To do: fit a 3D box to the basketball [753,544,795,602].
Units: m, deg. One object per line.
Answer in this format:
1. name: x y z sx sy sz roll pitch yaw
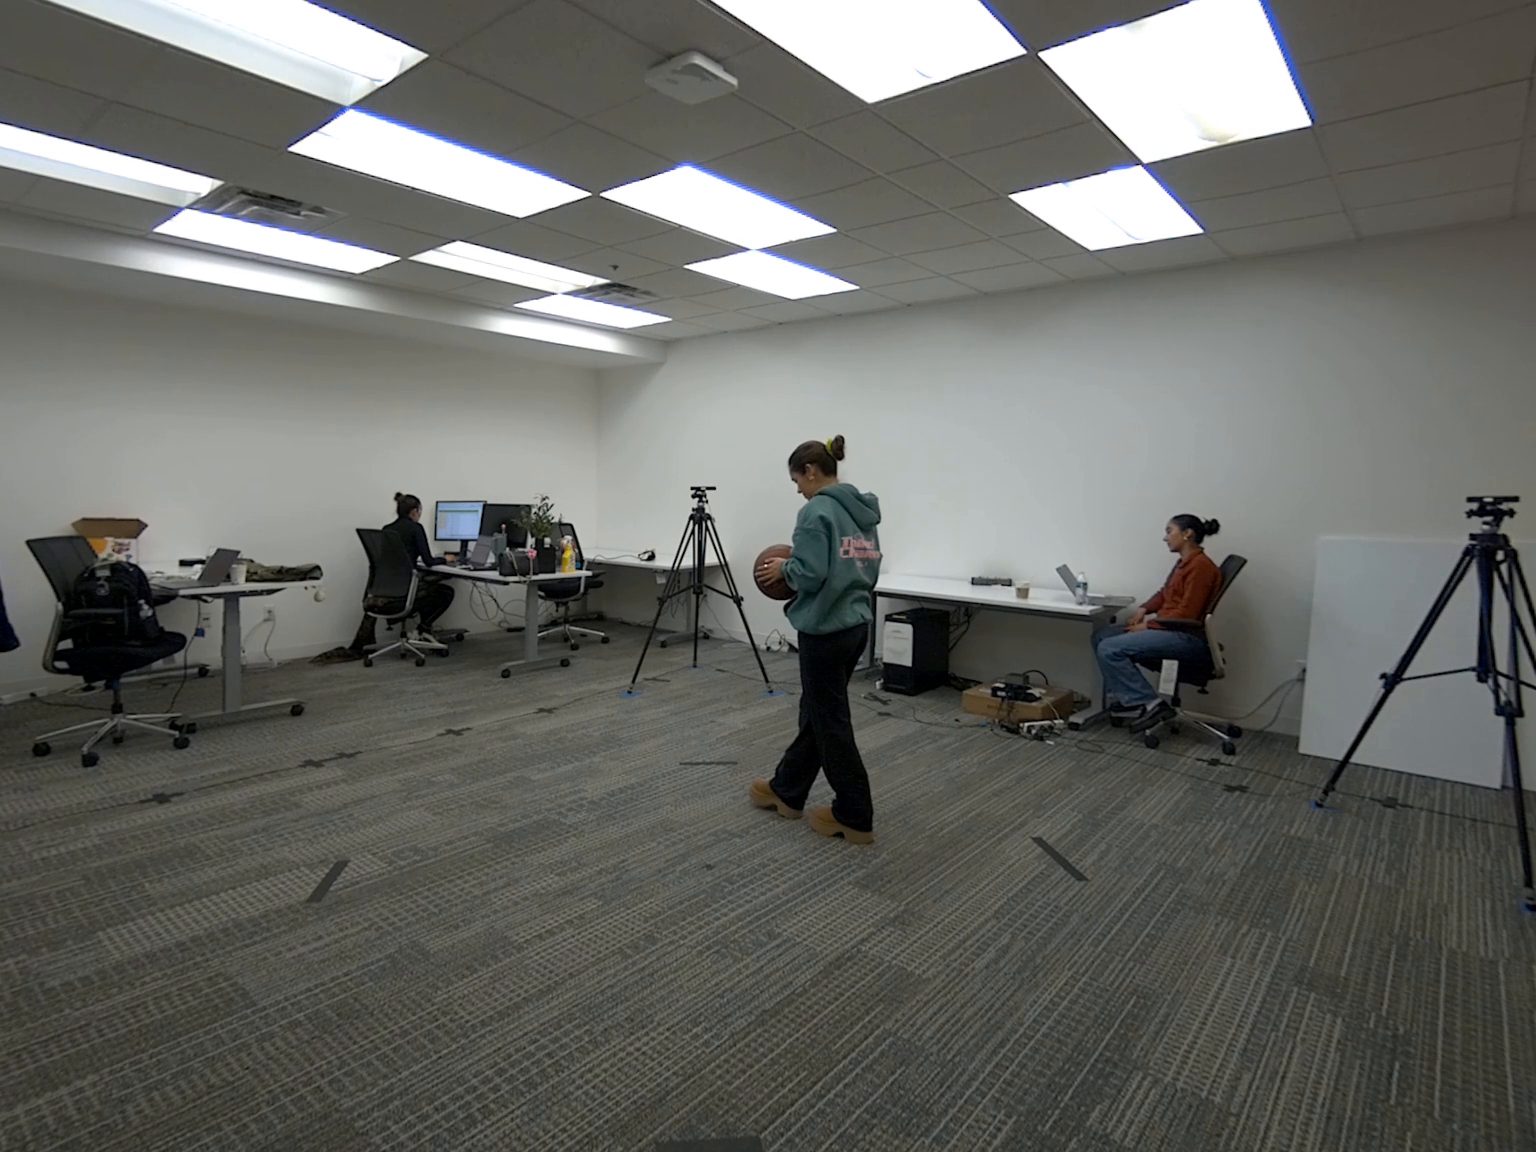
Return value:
1. basketball: 0.041 -0.023 3.601 0.235 0.235 0.237 1 4 -2
